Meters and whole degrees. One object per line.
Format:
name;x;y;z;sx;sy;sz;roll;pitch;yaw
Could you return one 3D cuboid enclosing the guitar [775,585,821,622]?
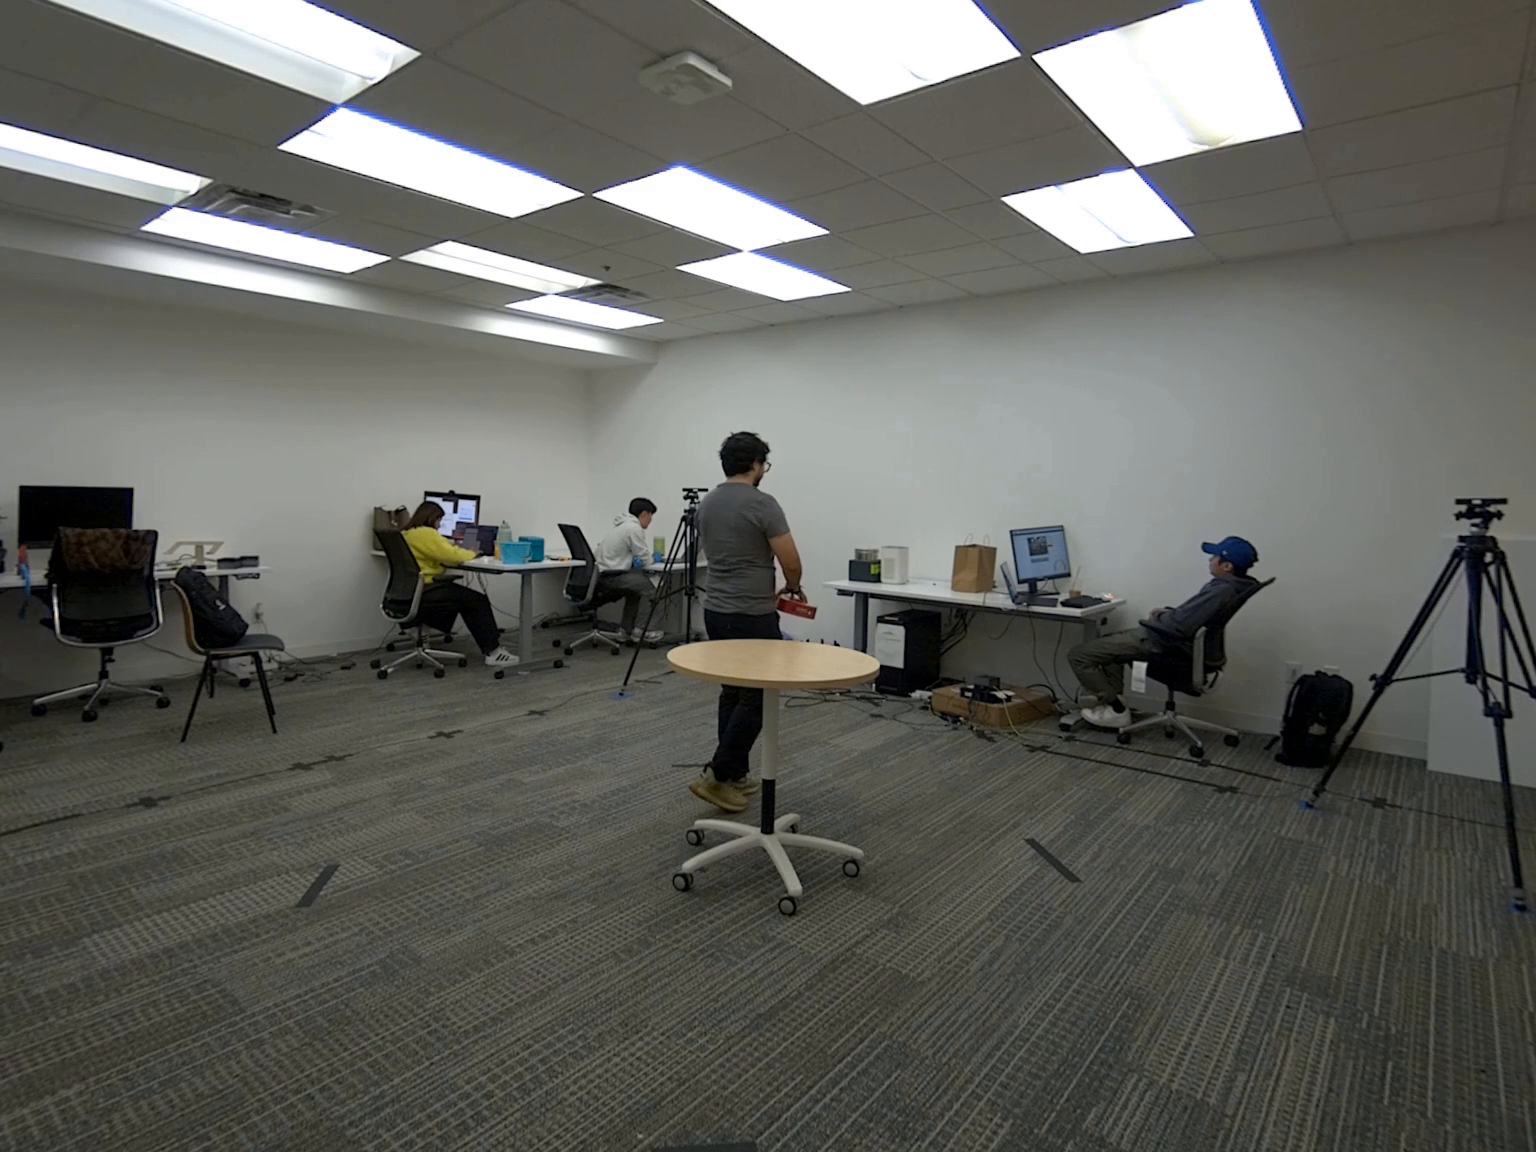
guitar;0.078;0.109;4.086;0.190;0.071;0.507;21;1;-15
